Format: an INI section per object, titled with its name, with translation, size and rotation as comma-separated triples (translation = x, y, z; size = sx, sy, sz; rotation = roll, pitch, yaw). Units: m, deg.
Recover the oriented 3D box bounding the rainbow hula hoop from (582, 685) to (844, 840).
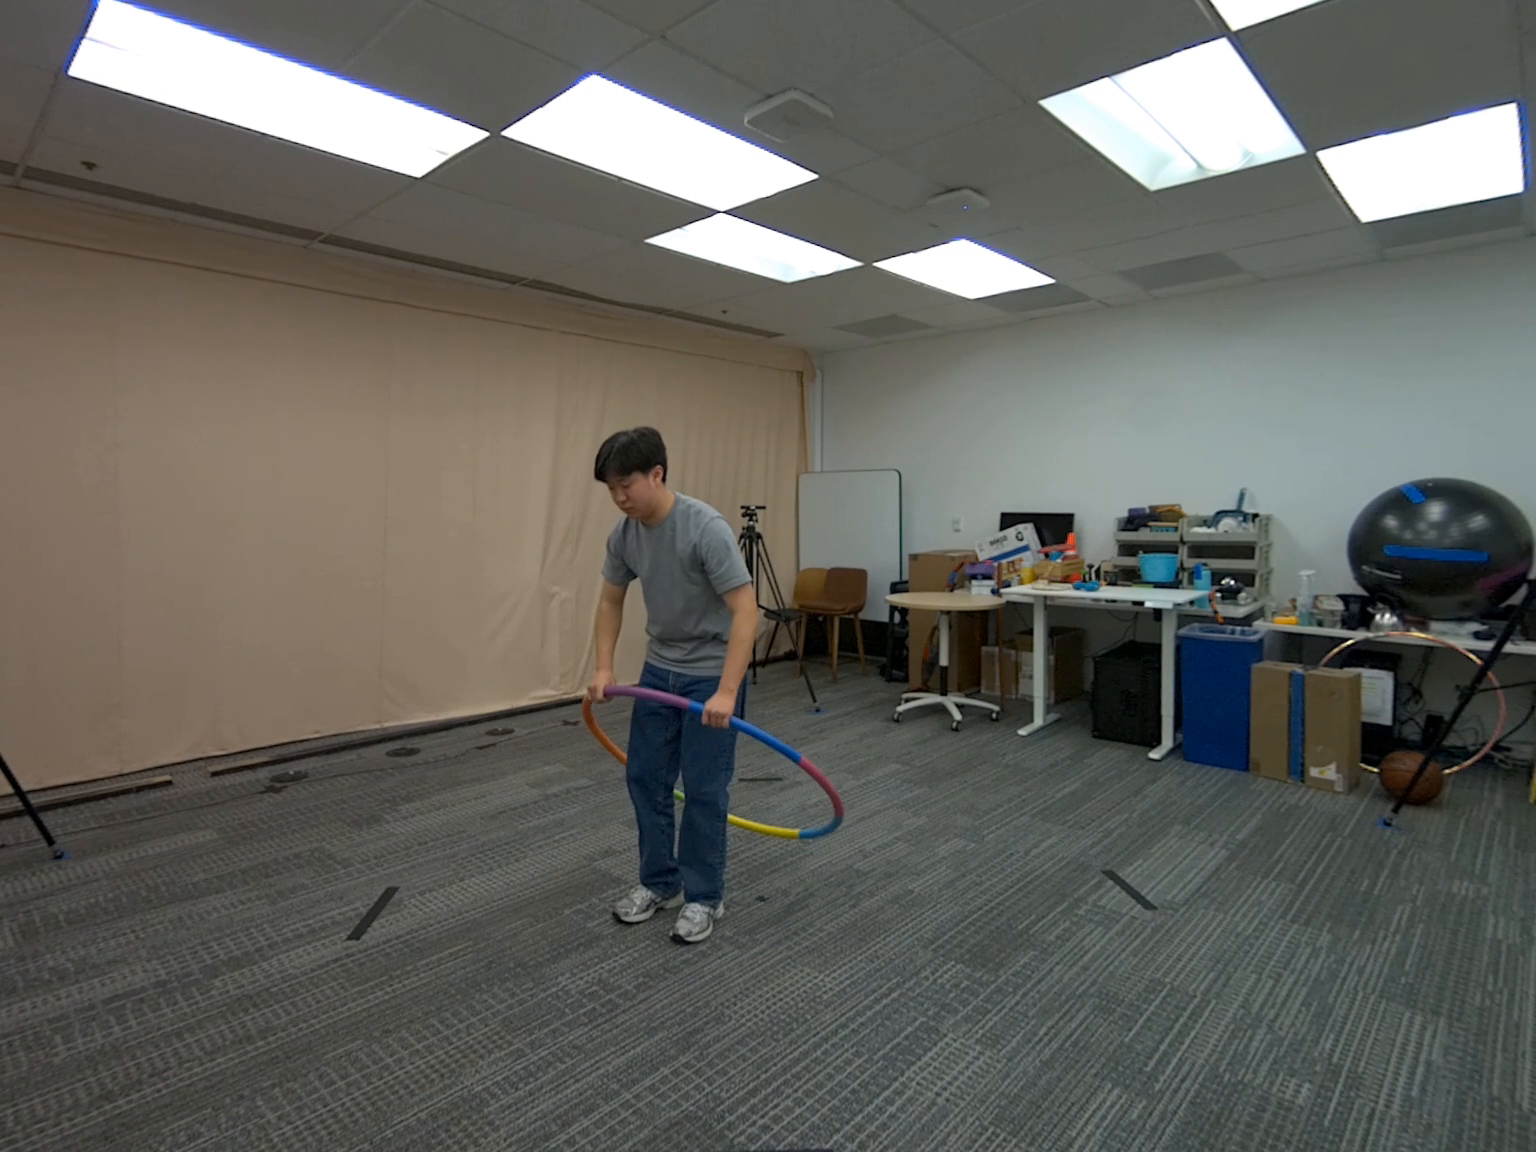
[rainbow hula hoop]
translation = -0.212, 0.667, 2.946
size = 0.993, 0.035, 0.963
rotation = 20, -32, 11
